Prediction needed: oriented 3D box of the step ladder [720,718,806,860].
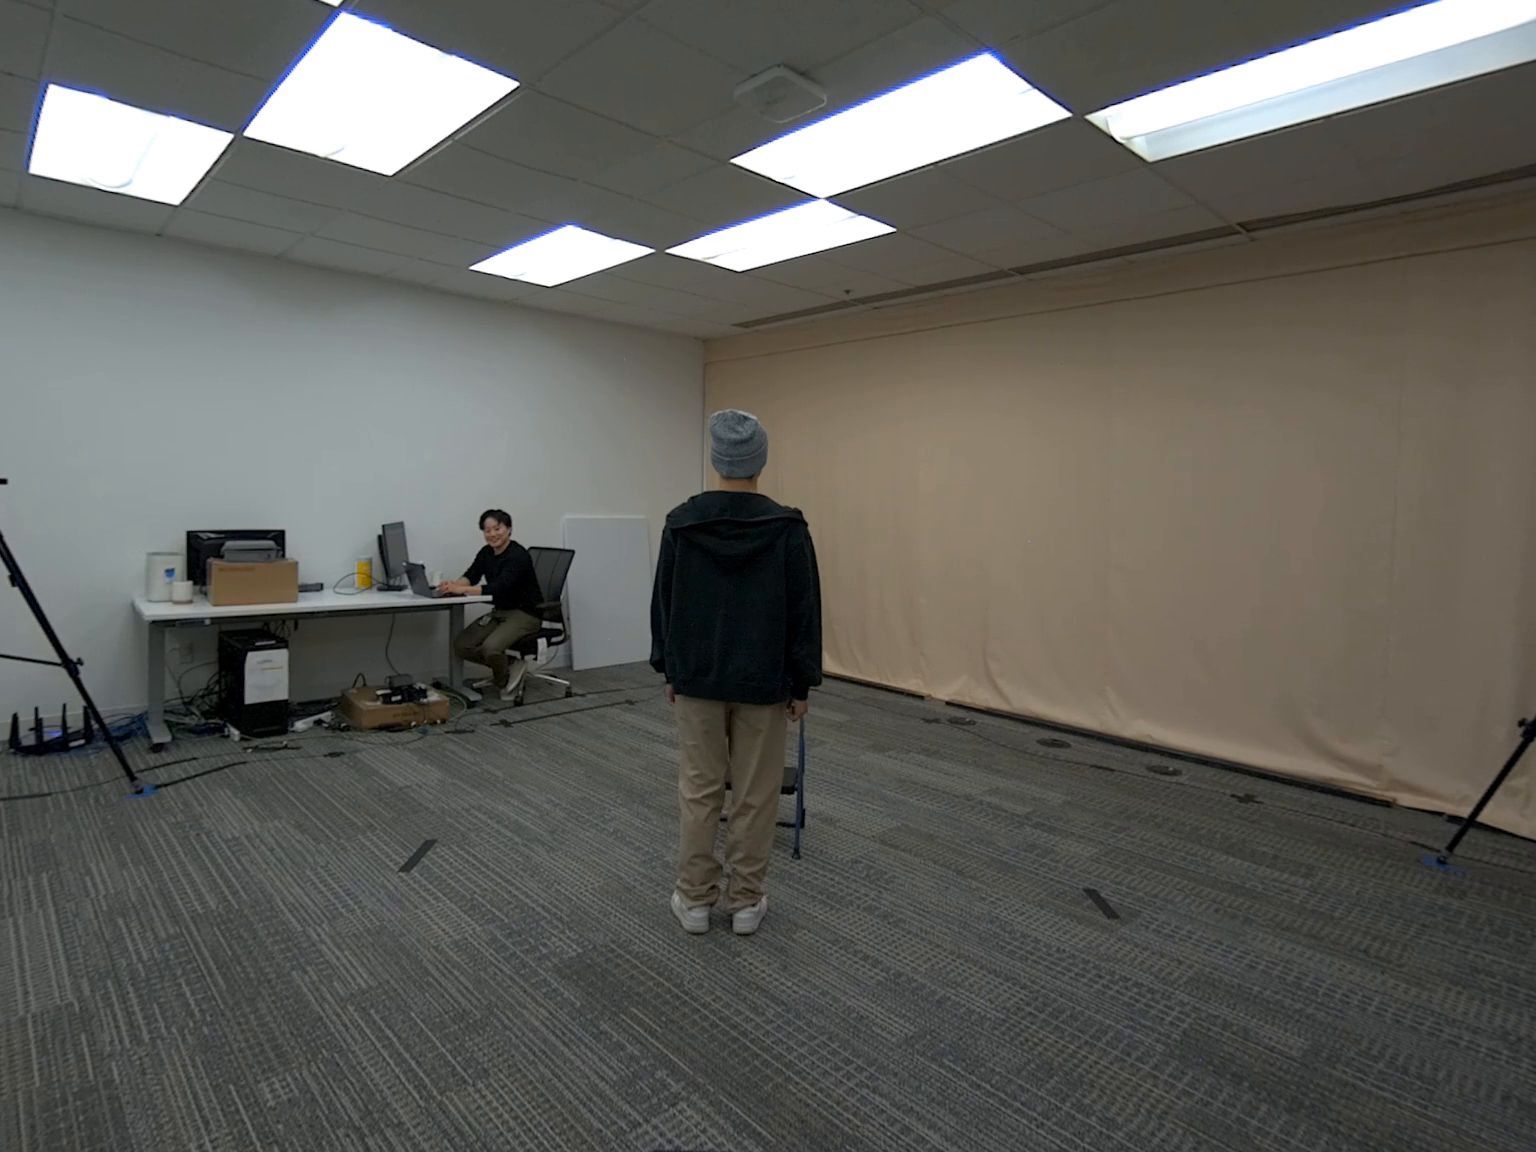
[{"bbox_3d":[-0.061,0.780,3.455,0.433,0.604,0.348,2,3,8],"label":"step ladder"}]
